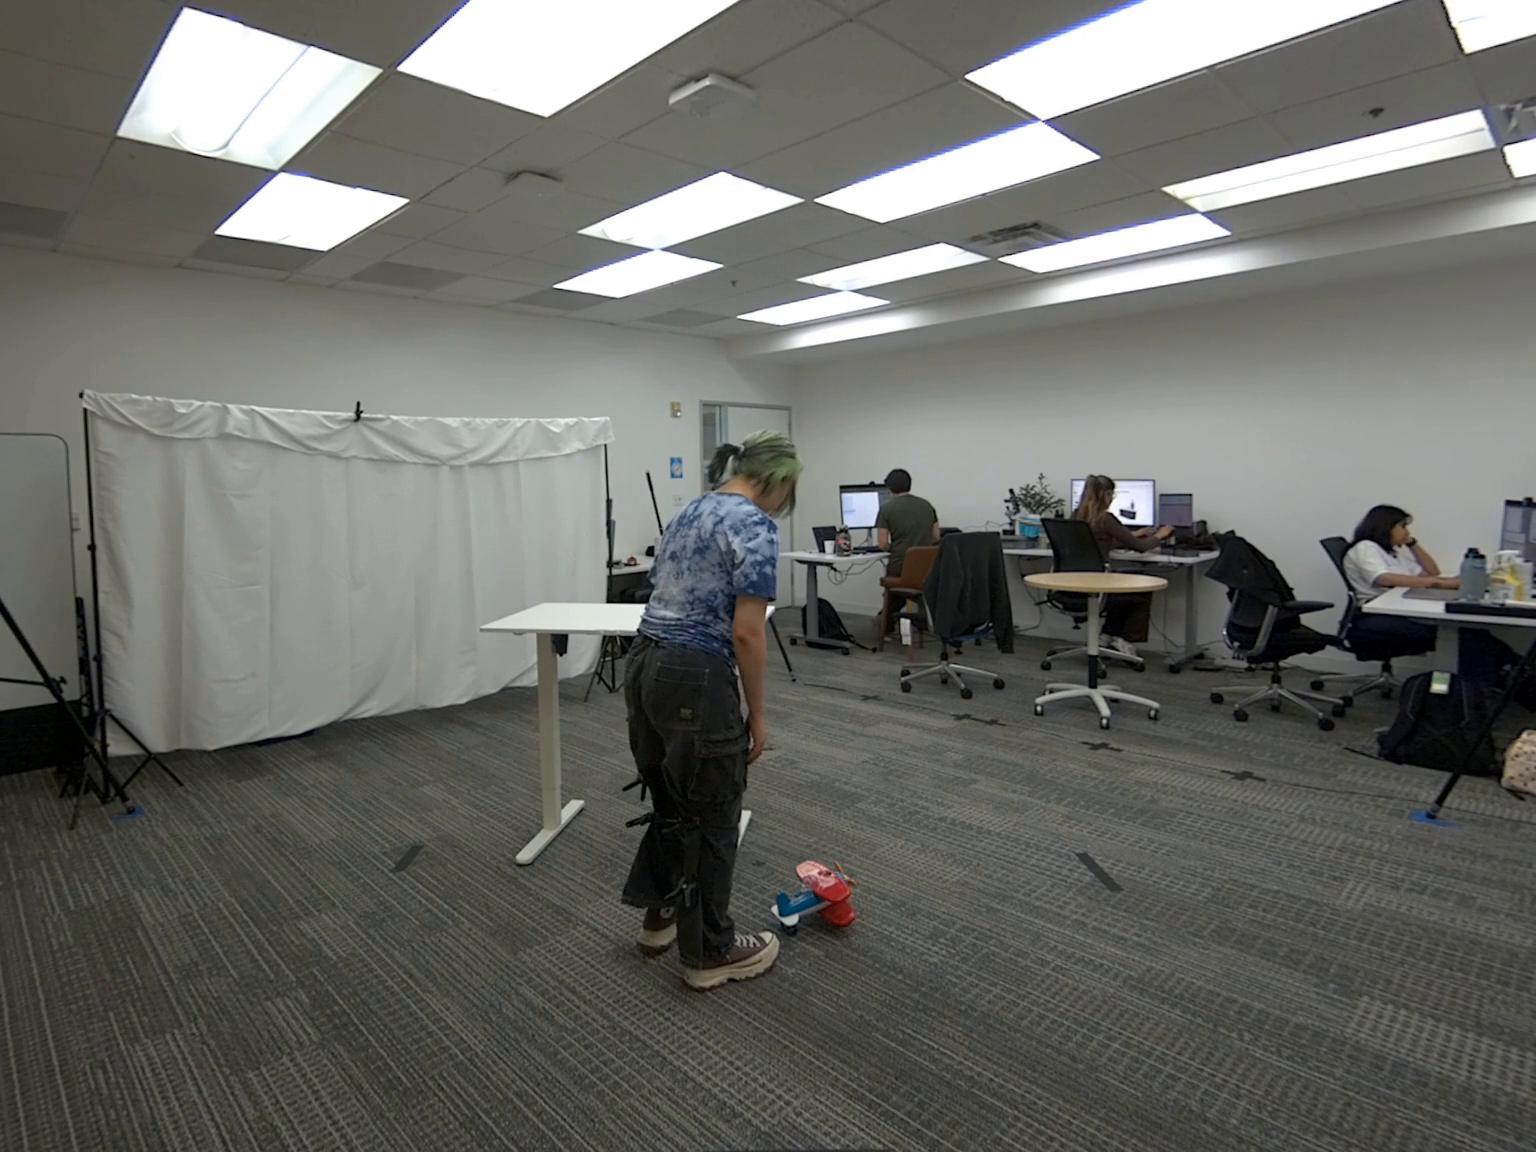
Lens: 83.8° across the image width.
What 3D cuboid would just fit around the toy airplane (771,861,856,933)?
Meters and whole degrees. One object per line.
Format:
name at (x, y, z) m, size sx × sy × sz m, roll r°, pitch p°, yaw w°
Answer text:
toy airplane at (0.161, 1.019, 2.660) m, size 0.258 × 0.156 × 0.253 m, roll 4°, pitch 6°, yaw 35°
